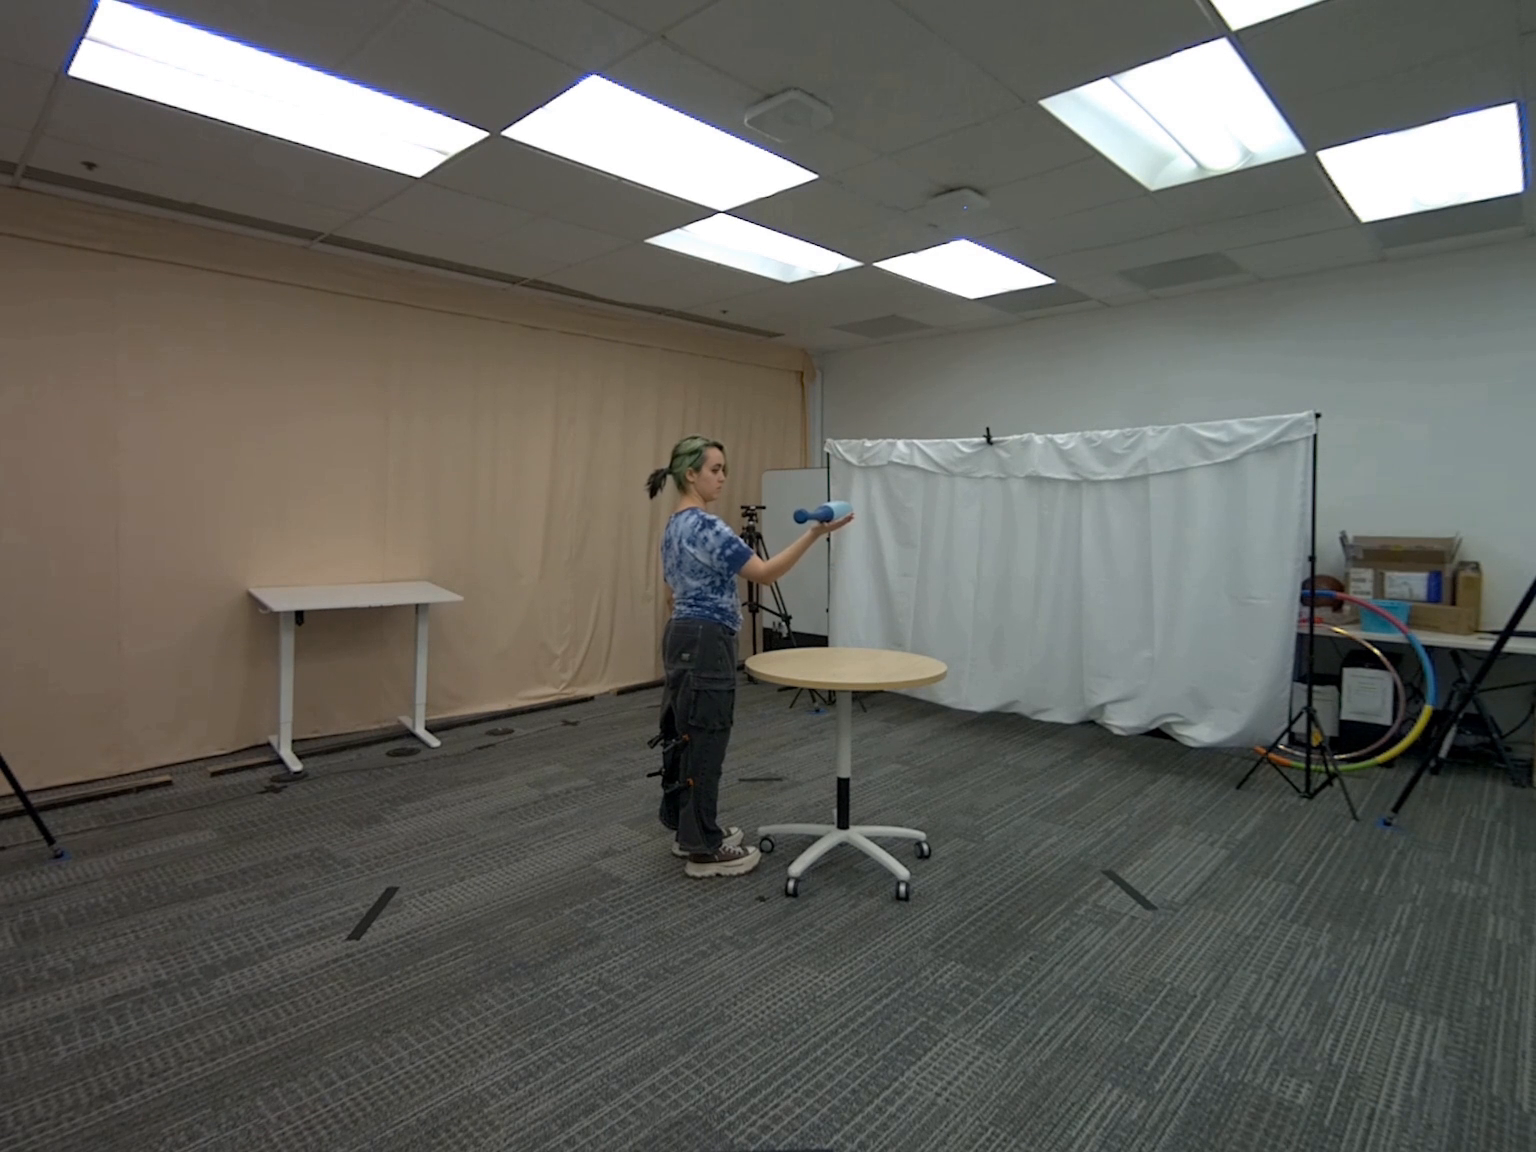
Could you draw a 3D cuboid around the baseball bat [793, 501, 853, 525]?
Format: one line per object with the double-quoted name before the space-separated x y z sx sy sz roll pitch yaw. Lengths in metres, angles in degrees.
"baseball bat" 0.197 -0.213 2.957 0.091 0.089 0.533 1 5 18
